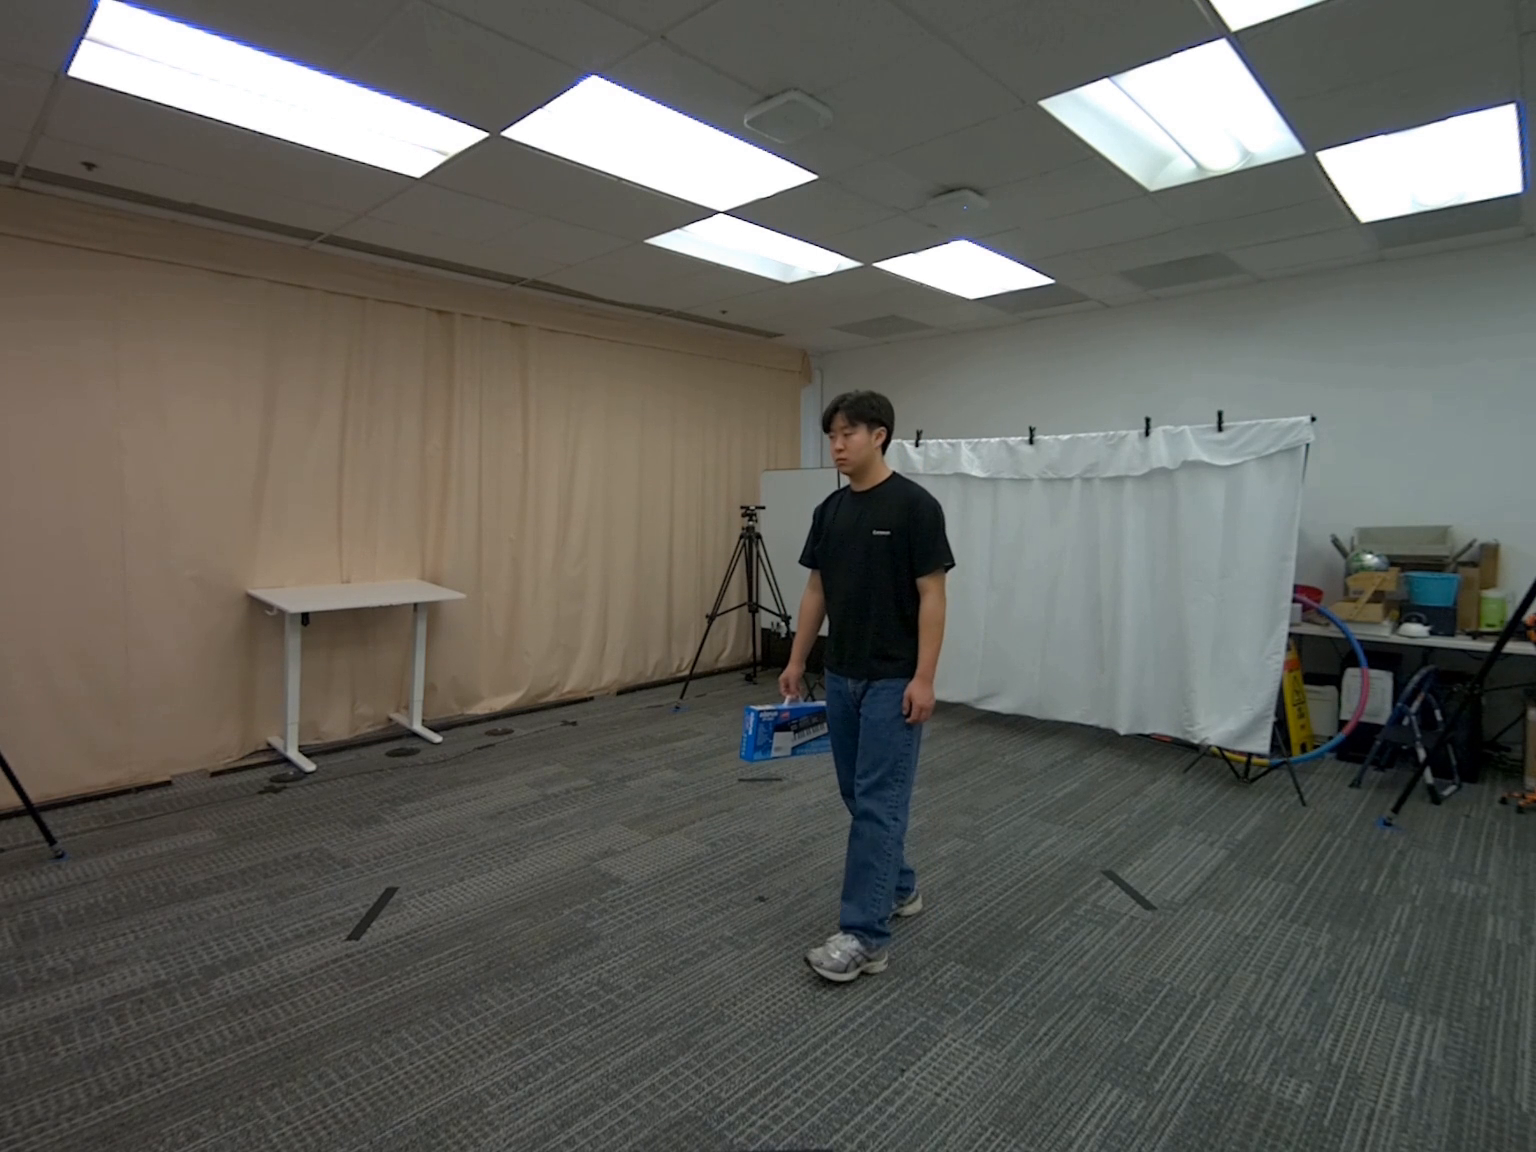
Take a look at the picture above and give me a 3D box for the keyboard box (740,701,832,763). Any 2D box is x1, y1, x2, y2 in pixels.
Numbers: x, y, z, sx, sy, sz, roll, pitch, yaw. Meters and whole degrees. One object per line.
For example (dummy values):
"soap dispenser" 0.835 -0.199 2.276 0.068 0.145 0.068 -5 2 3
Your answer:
"keyboard box" 0.086 0.533 2.902 0.422 0.176 0.061 5 1 -45
